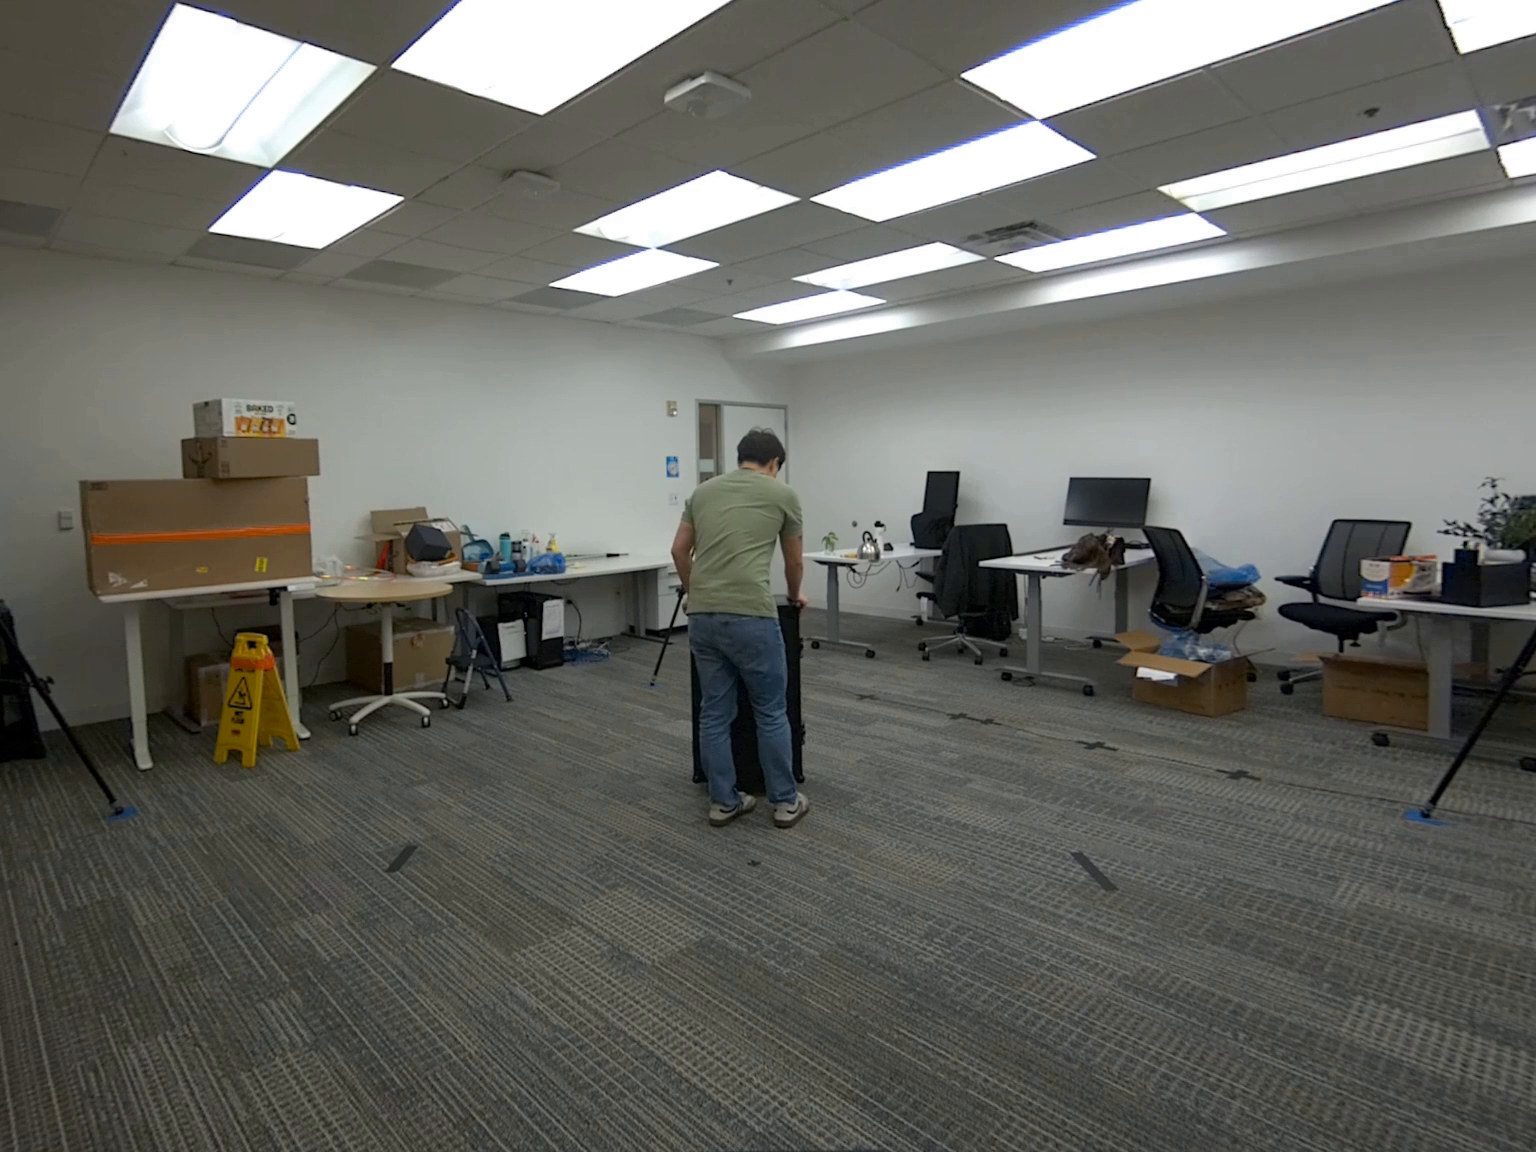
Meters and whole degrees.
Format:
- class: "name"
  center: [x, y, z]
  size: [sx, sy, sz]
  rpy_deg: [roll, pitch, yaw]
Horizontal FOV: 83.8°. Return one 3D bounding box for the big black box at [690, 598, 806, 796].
- class: "big black box"
  center: [-0.095, 0.530, 3.905]
  size: [0.523, 0.860, 0.395]
  rpy_deg: [-1, 2, 3]
